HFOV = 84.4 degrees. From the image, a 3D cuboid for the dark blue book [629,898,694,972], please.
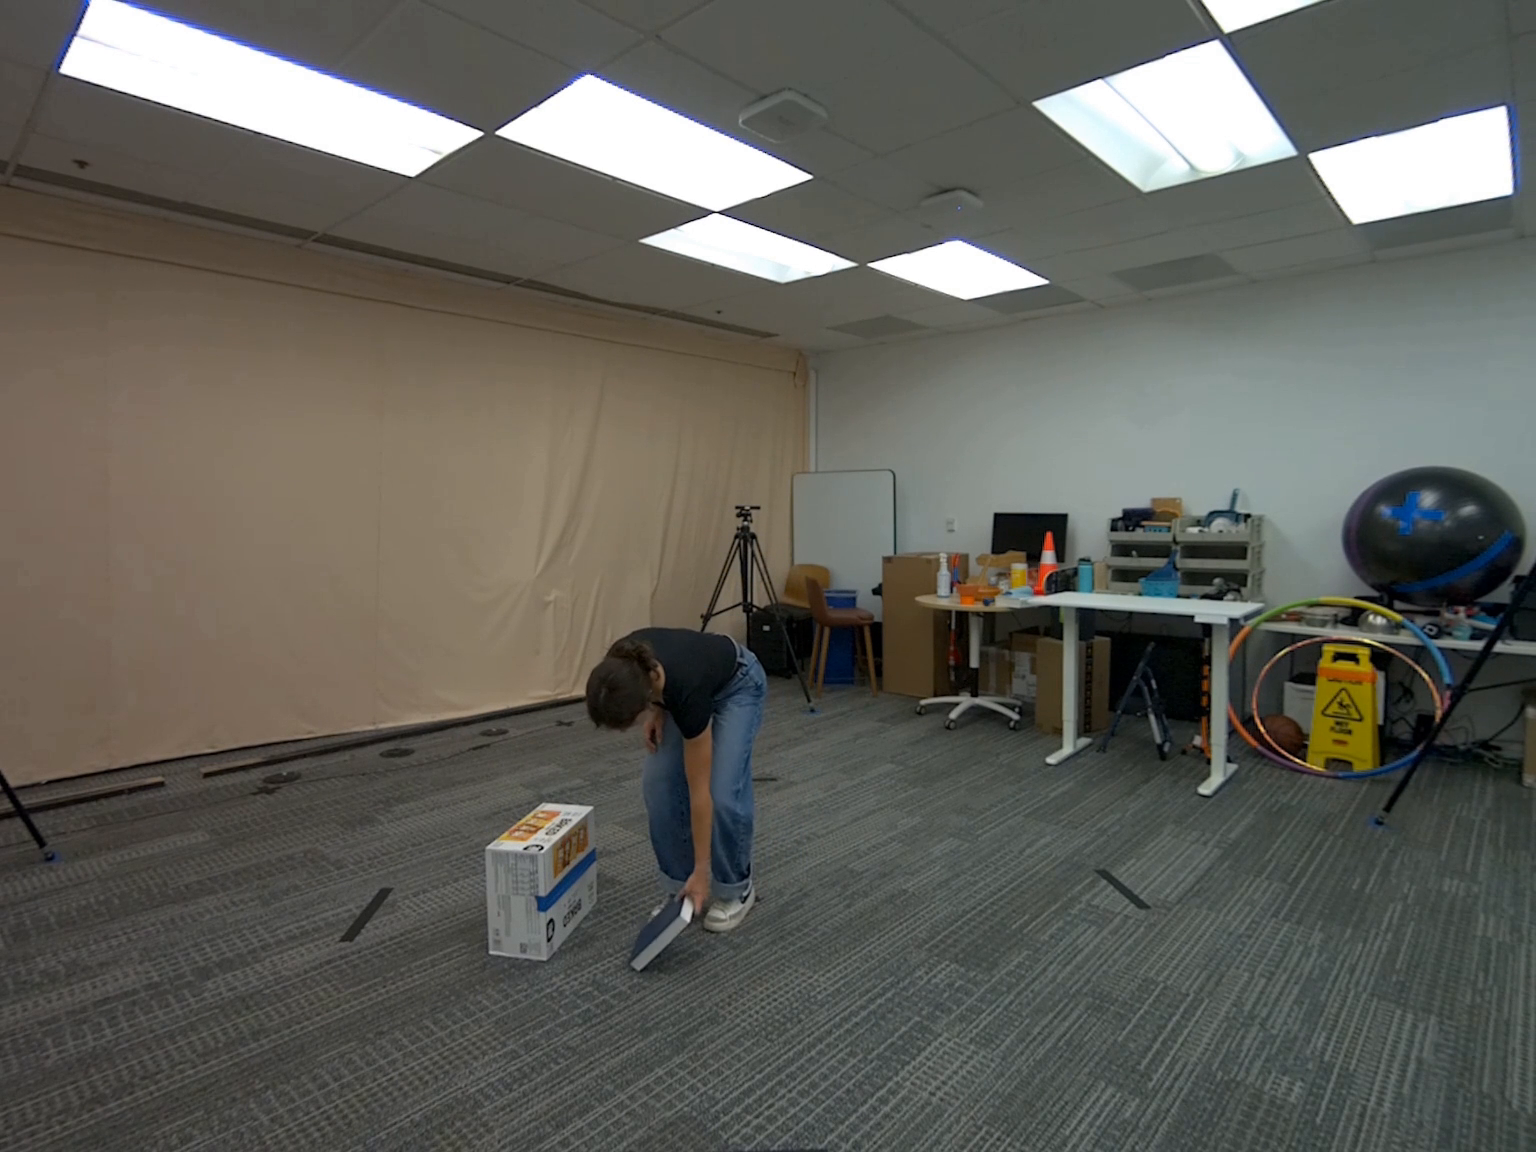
[{"bbox_3d":[-0.323,1.069,2.559,0.045,0.246,0.163,41,12,-4],"label":"dark blue book"}]
